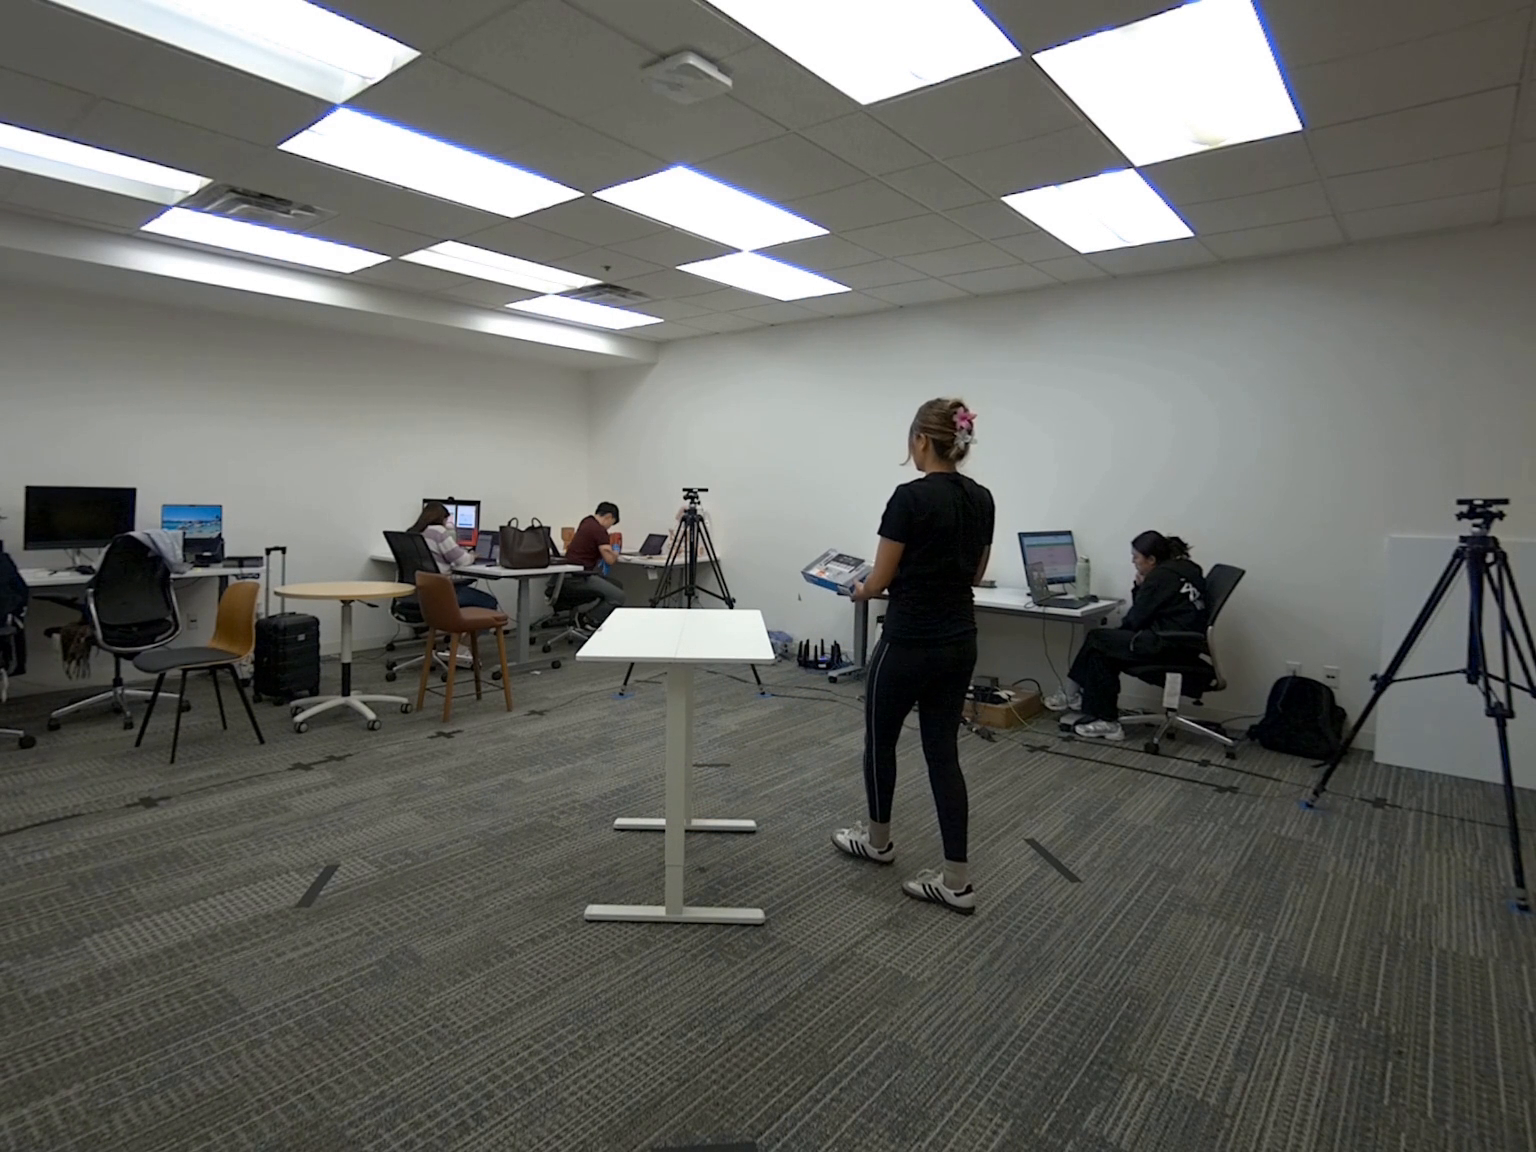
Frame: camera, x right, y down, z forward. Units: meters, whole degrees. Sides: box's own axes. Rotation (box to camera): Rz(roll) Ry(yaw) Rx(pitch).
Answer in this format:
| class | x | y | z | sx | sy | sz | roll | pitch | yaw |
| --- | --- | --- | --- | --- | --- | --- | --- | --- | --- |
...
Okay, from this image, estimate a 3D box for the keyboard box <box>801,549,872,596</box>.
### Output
| class | x | y | z | sx | sy | sz | roll | pitch | yaw |
| --- | --- | --- | --- | --- | --- | --- | --- | --- | --- |
| keyboard box | 0.294 | -0.016 | 3.451 | 0.175 | 0.058 | 0.449 | -36 | 20 | -14 |
